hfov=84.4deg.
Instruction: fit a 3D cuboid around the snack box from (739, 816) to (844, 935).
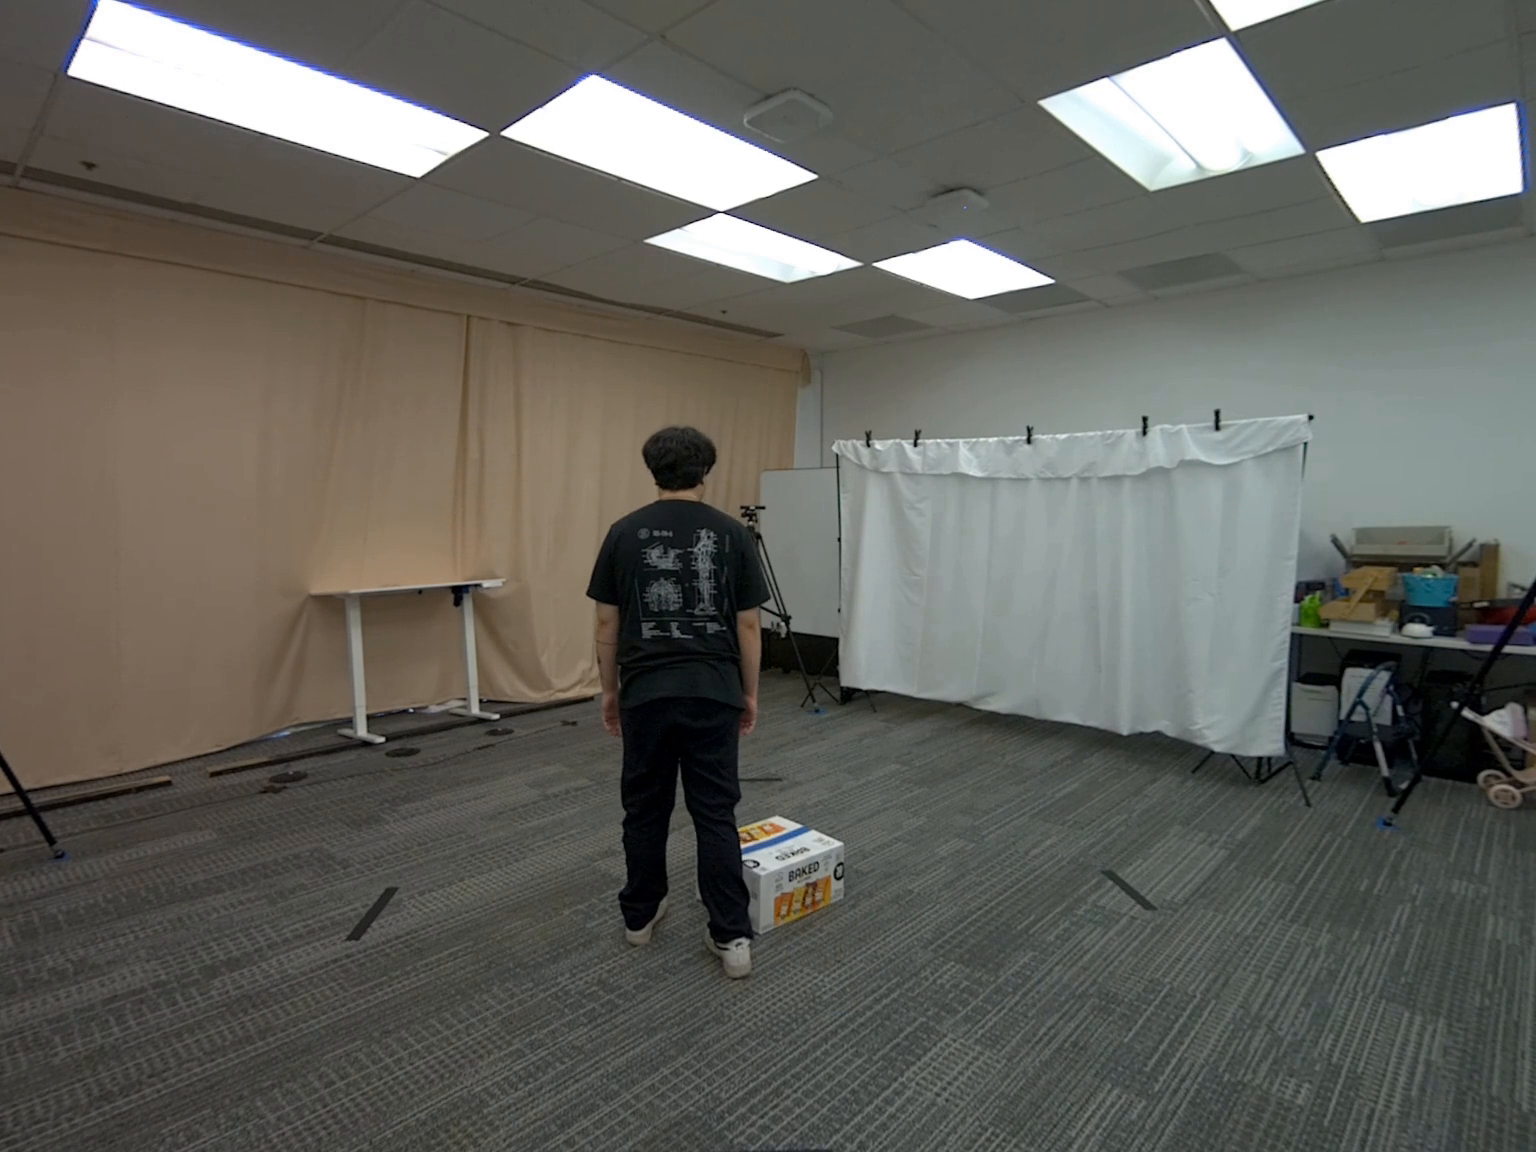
[{"bbox_3d":[0.011,1.044,2.974,0.393,0.205,0.352,-4,6,-41],"label":"snack box"}]
